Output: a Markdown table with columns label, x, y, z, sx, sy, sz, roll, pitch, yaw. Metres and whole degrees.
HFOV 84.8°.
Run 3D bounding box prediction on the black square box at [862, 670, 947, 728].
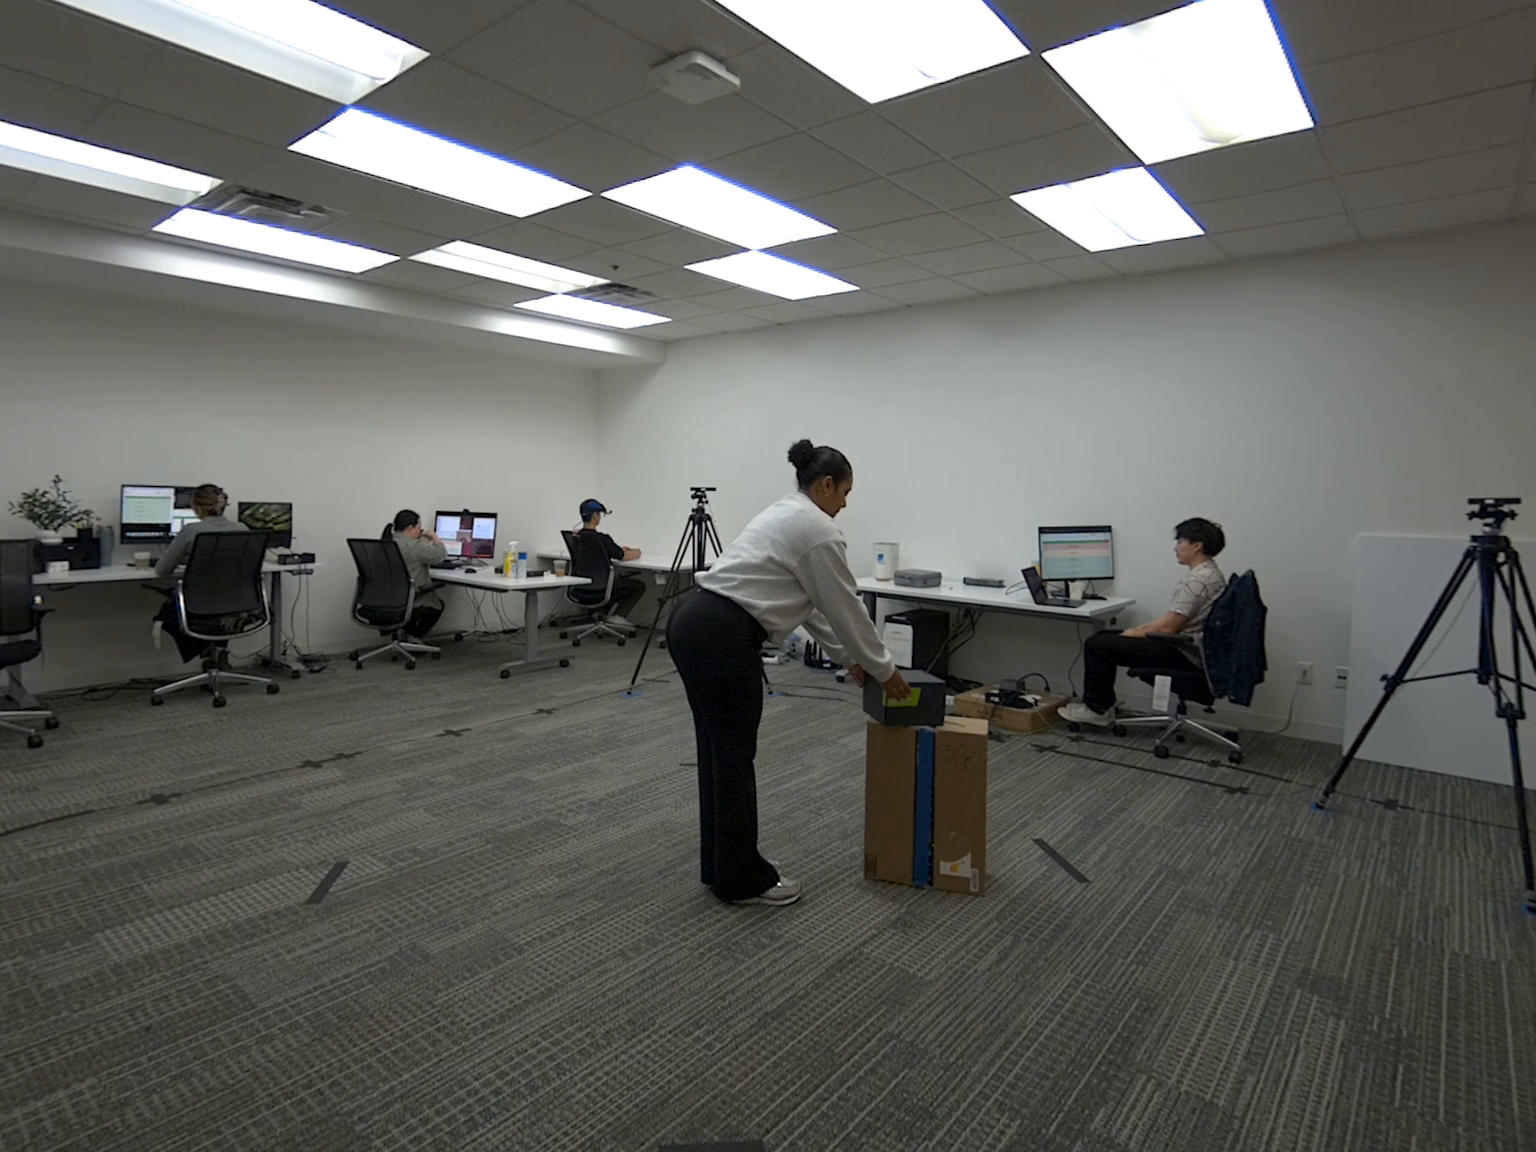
| label | x | y | z | sx | sy | sz | roll | pitch | yaw |
| --- | --- | --- | --- | --- | --- | --- | --- | --- | --- |
| black square box | 0.486 | 0.436 | 3.090 | 0.225 | 0.155 | 0.221 | 2 | 4 | -14 |
